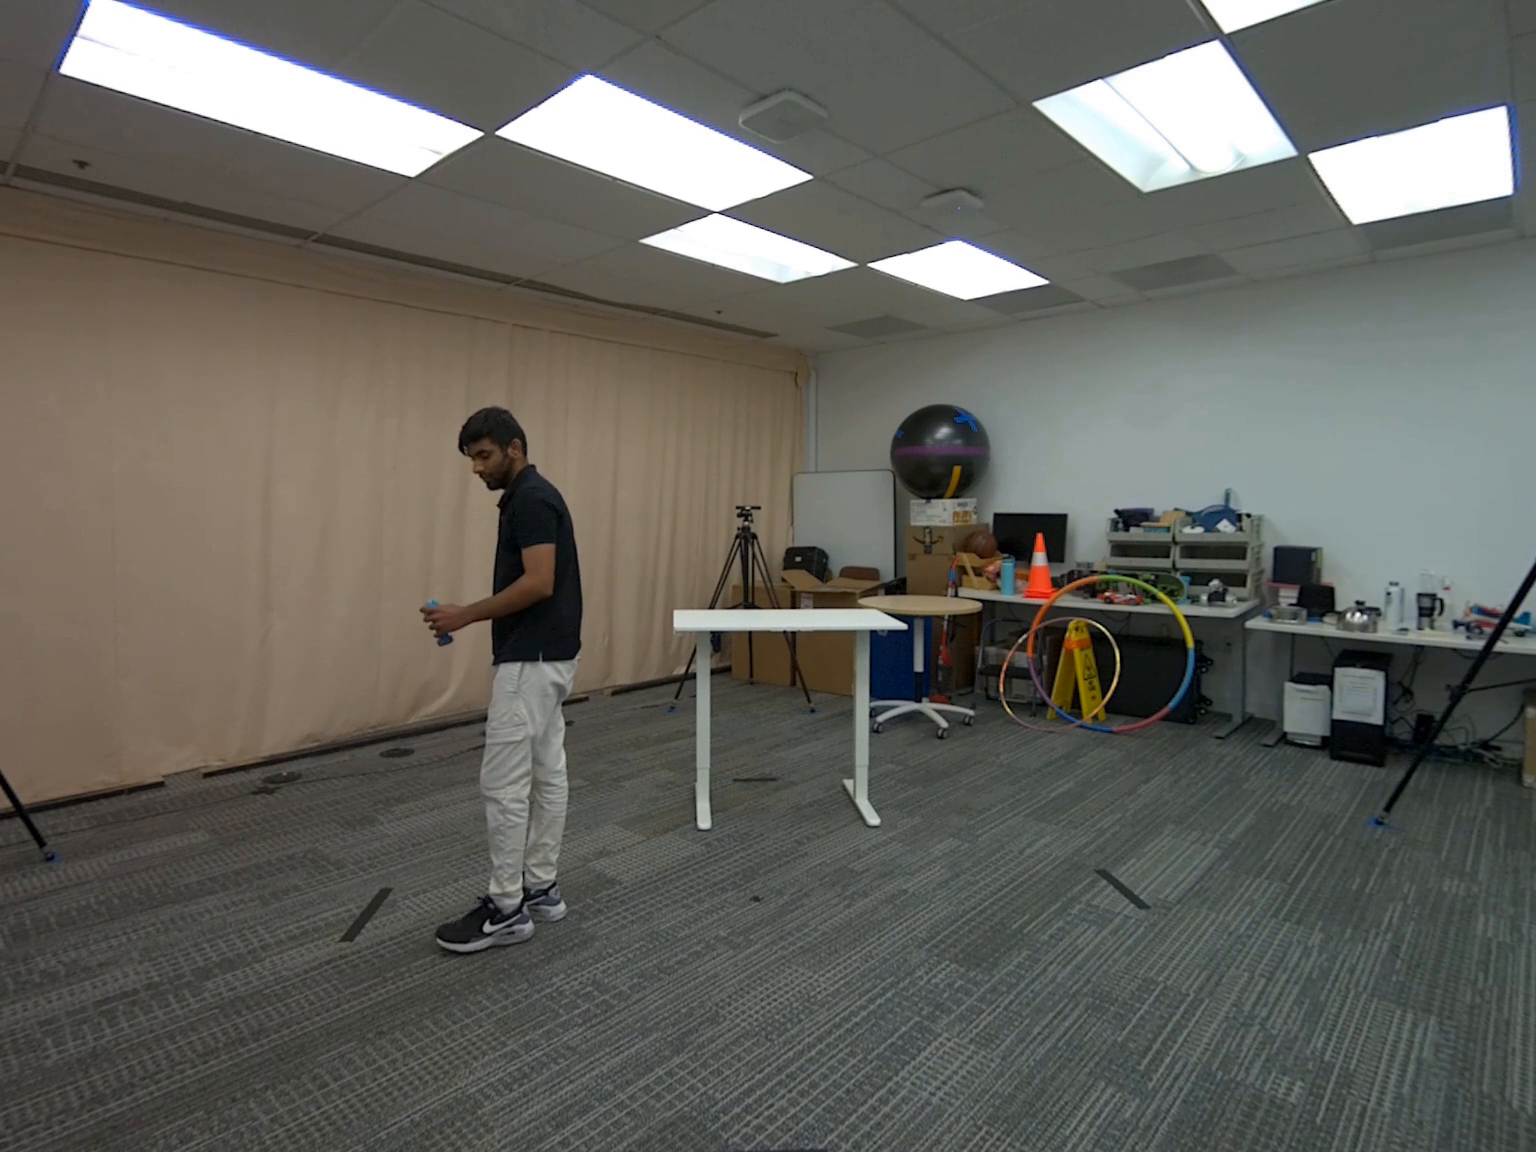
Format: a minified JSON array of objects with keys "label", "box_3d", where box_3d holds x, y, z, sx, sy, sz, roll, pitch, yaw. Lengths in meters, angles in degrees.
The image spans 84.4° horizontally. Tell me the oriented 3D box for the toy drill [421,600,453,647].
[{"label":"toy drill","box_3d":[-1.073,0.148,2.734,0.060,0.145,0.175,-21,13,-29]}]
